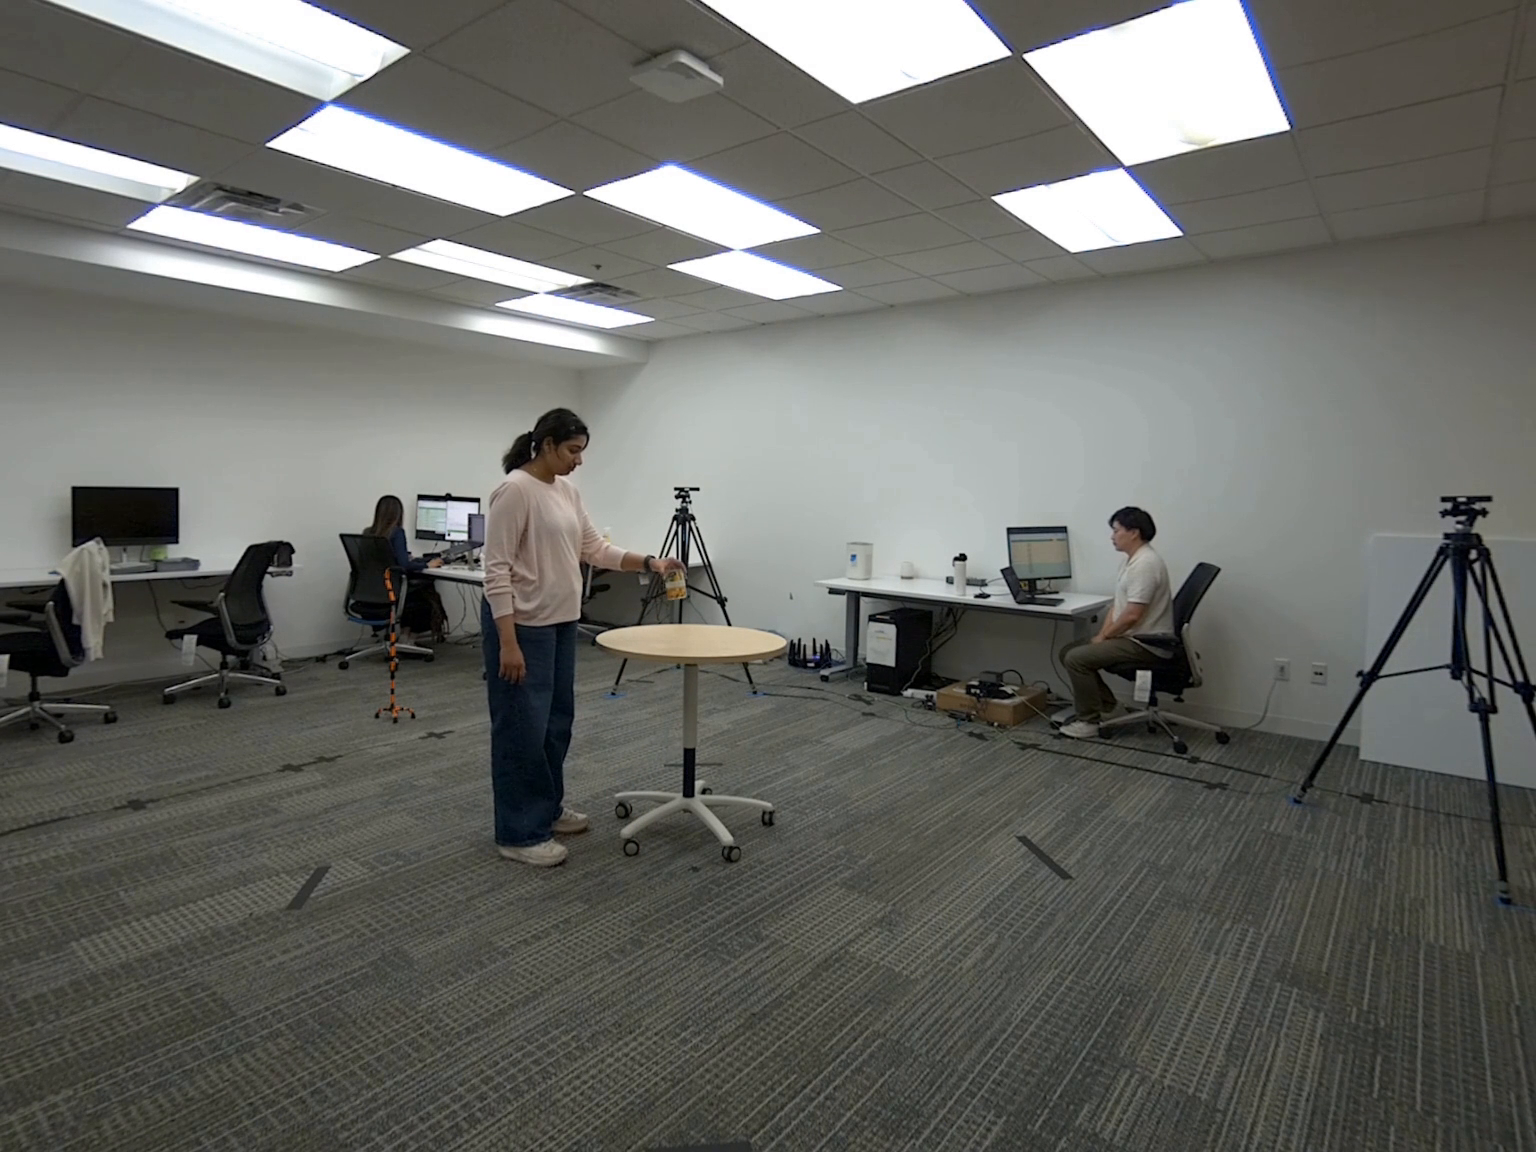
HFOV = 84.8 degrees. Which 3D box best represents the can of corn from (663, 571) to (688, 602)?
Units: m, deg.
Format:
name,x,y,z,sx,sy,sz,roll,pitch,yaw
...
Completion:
name,x,y,z,sx,sy,sz,roll,pitch,yaw
can of corn,-0.366,0.031,3.265,0.074,0.111,0.074,-7,0,-2
